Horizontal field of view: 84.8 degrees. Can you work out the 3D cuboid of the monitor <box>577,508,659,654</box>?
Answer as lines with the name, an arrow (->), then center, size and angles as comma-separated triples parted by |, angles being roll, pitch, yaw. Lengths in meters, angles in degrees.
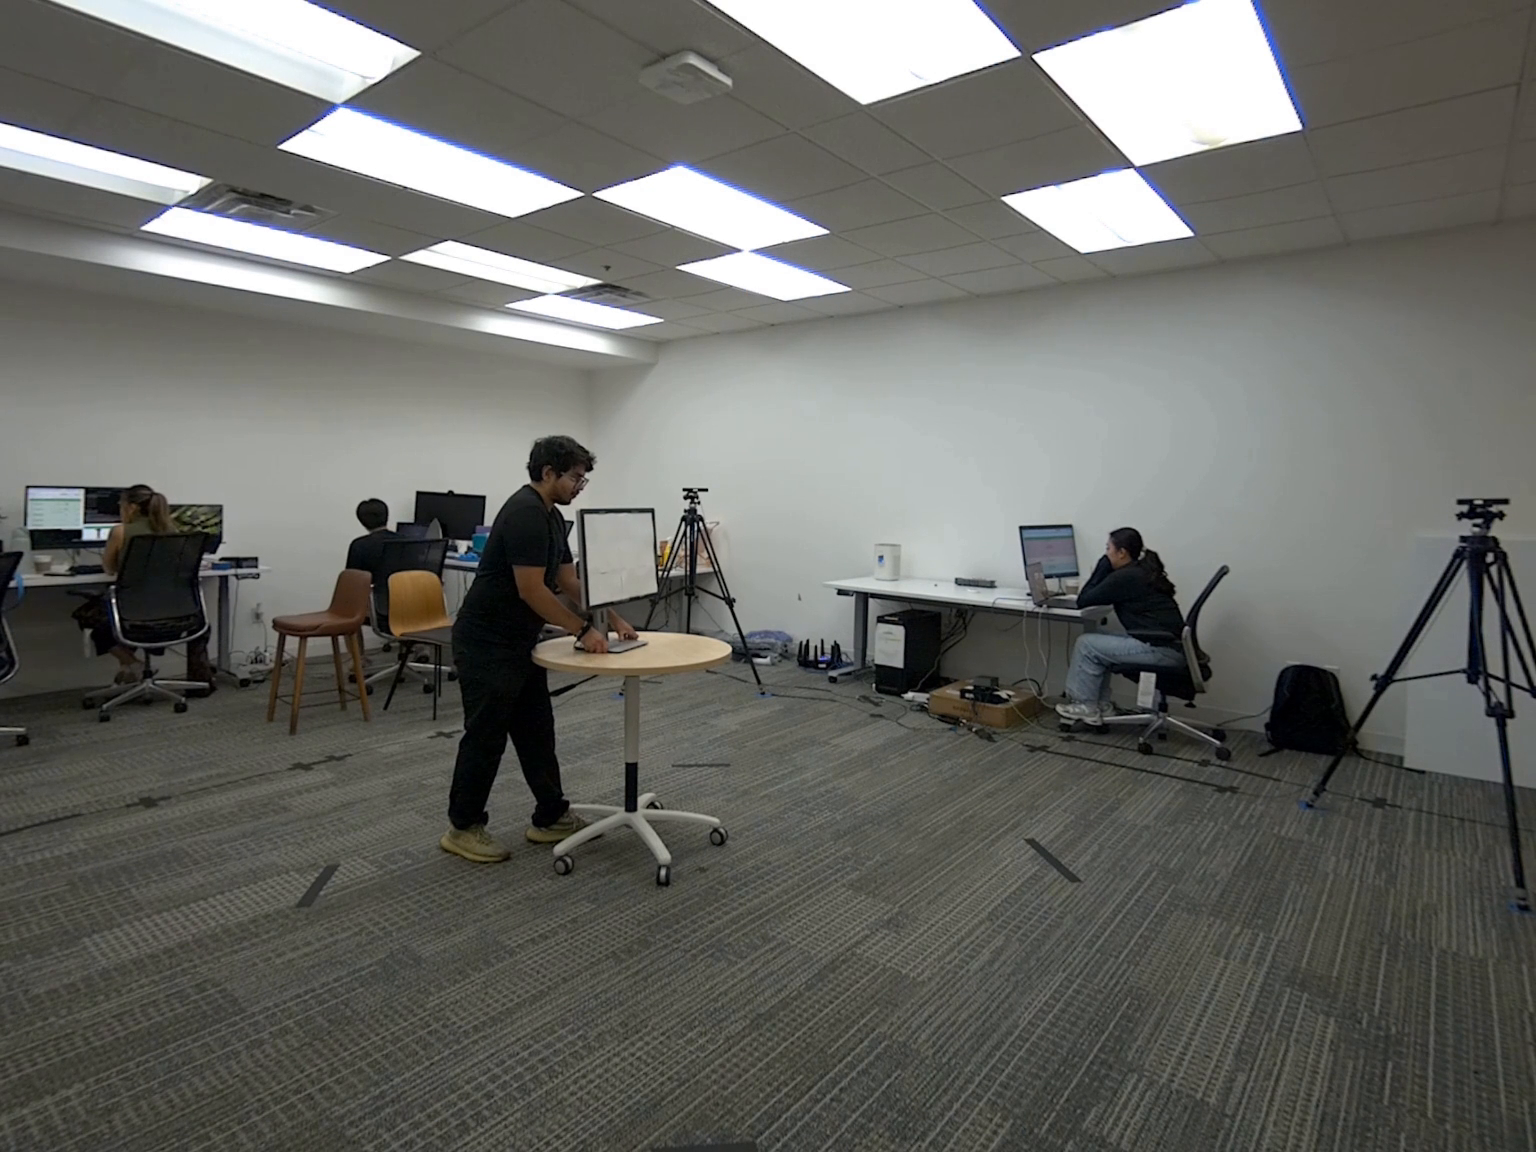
monitor -> -0.639, 0.008, 3.295 | 0.215, 0.552, 0.554 | 2, 4, 21
